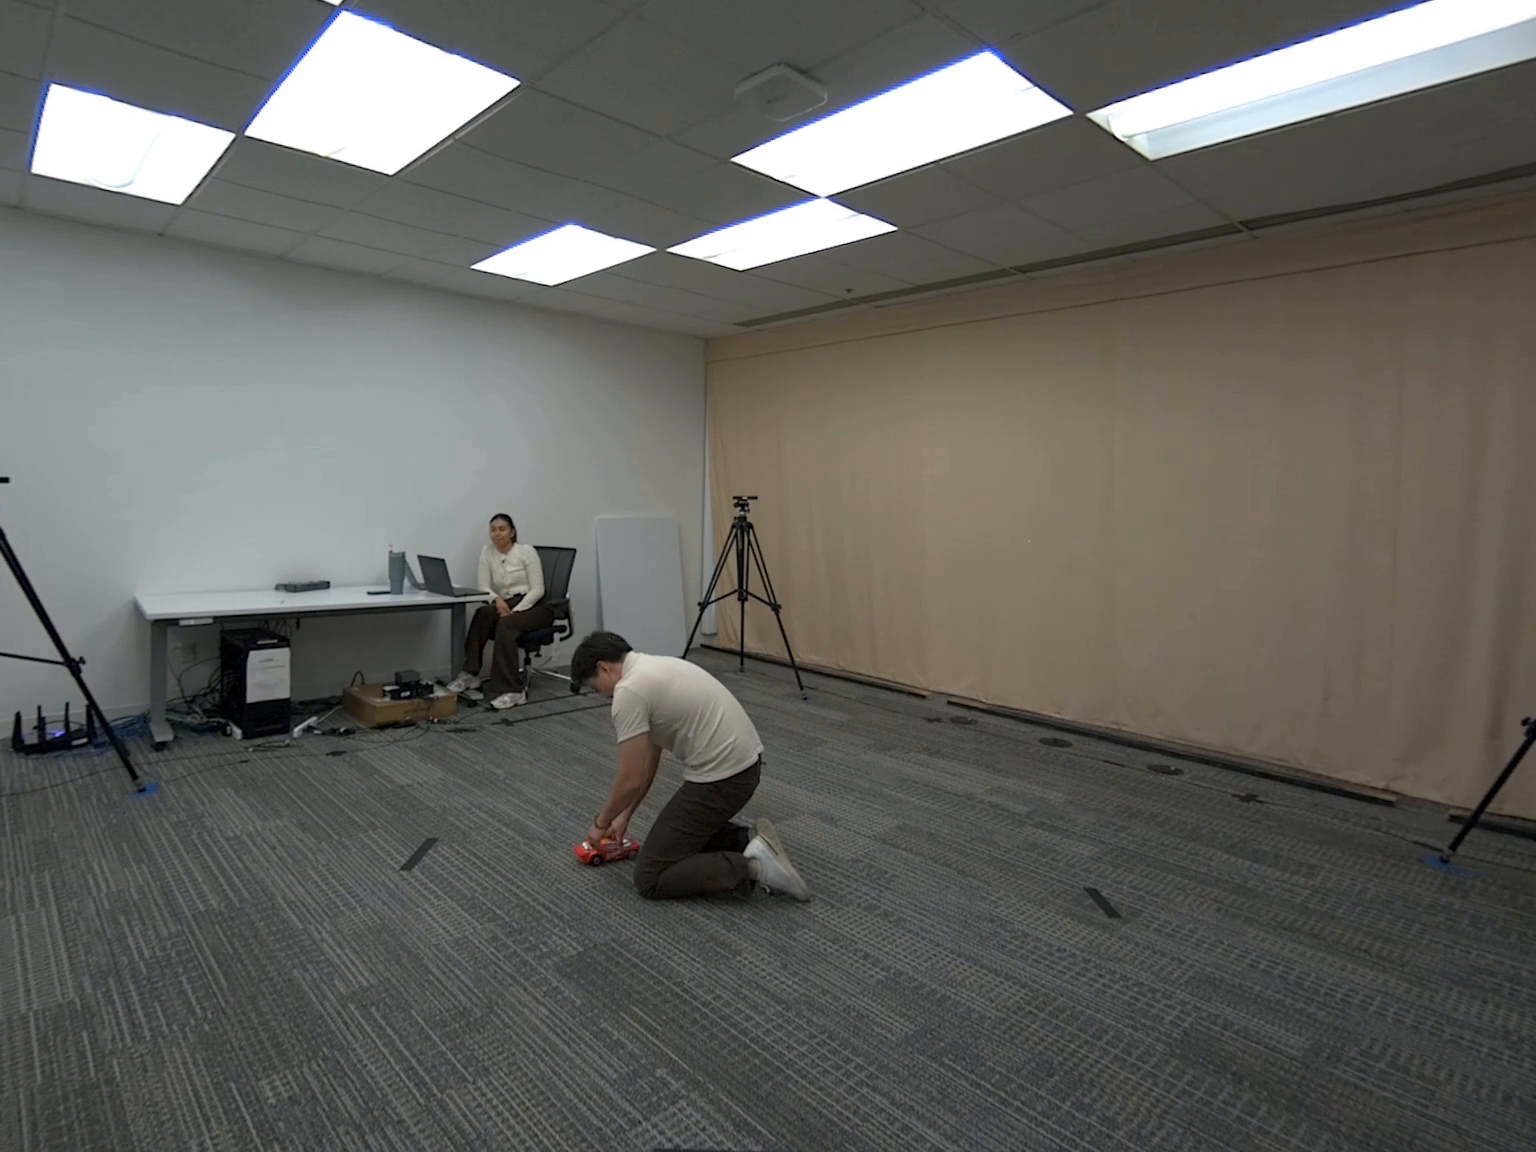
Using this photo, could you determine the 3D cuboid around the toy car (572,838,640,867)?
[{"bbox_3d":[-0.636,1.058,3.212,0.249,0.083,0.132,11,-4,-24],"label":"toy car"}]
